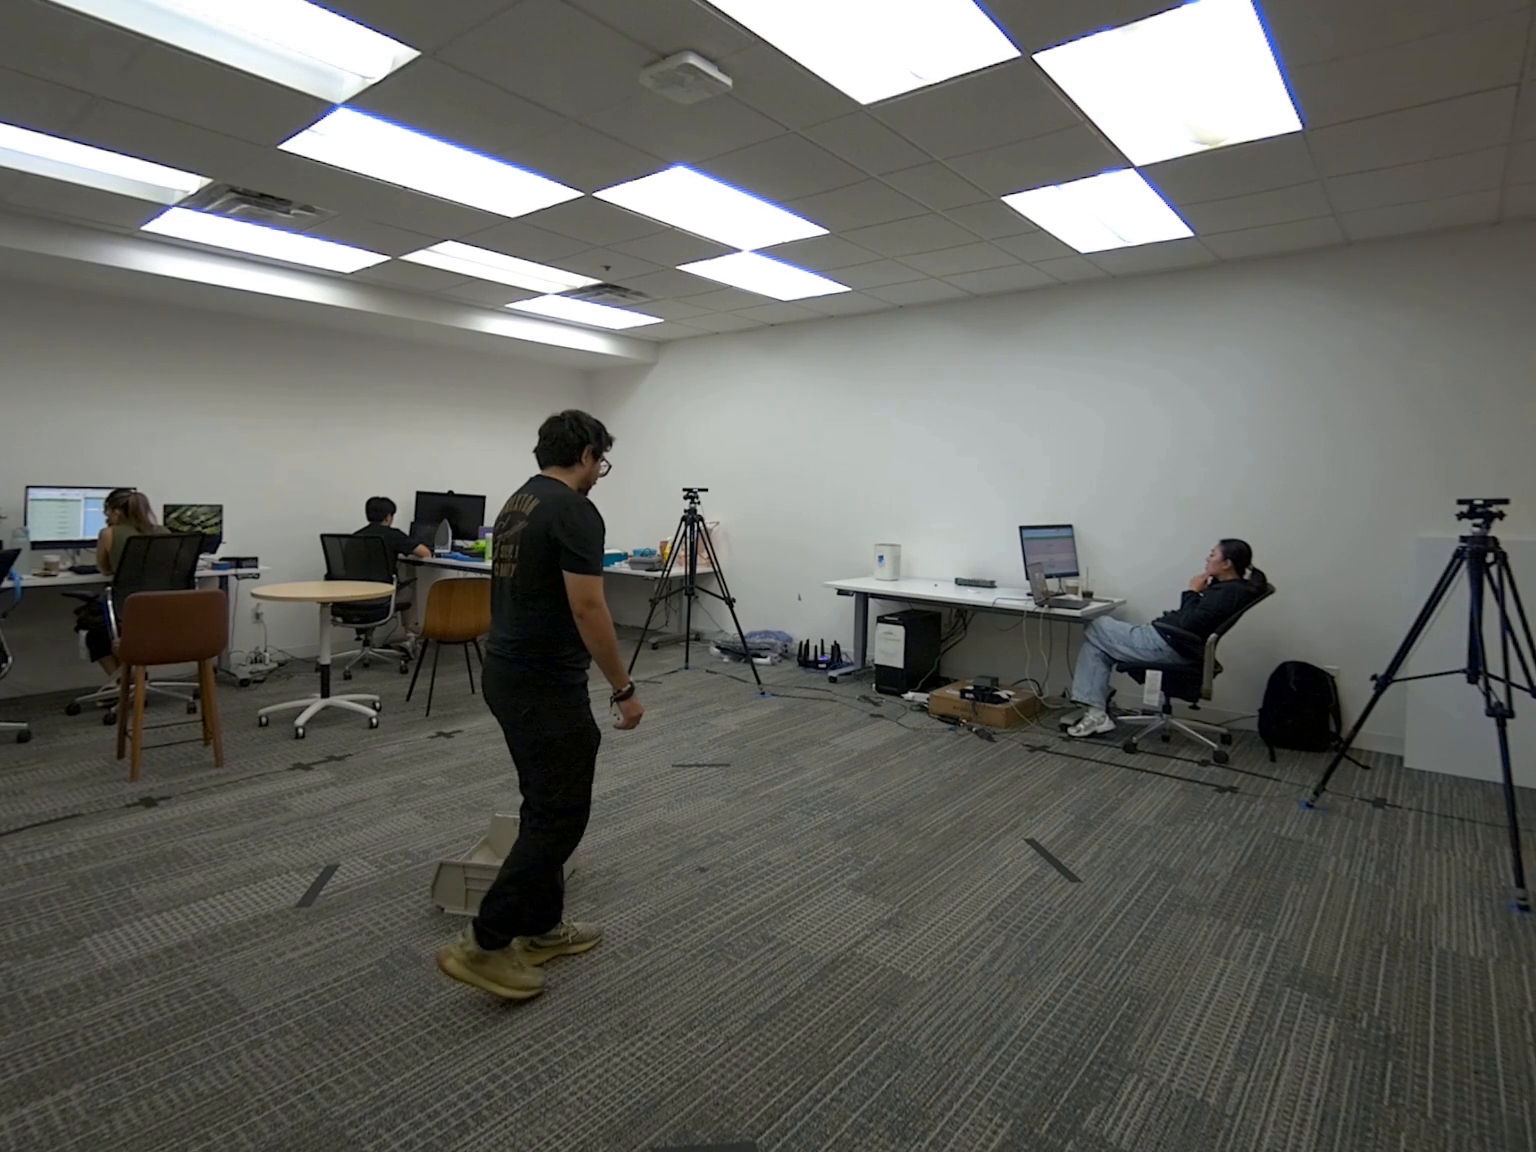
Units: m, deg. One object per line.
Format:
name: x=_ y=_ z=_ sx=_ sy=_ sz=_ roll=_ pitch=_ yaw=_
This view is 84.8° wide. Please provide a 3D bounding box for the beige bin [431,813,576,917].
beige bin: x=-0.903 y=0.987 z=2.926 sx=0.381 sy=0.188 sz=0.420 roll=2 pitch=5 yaw=8
